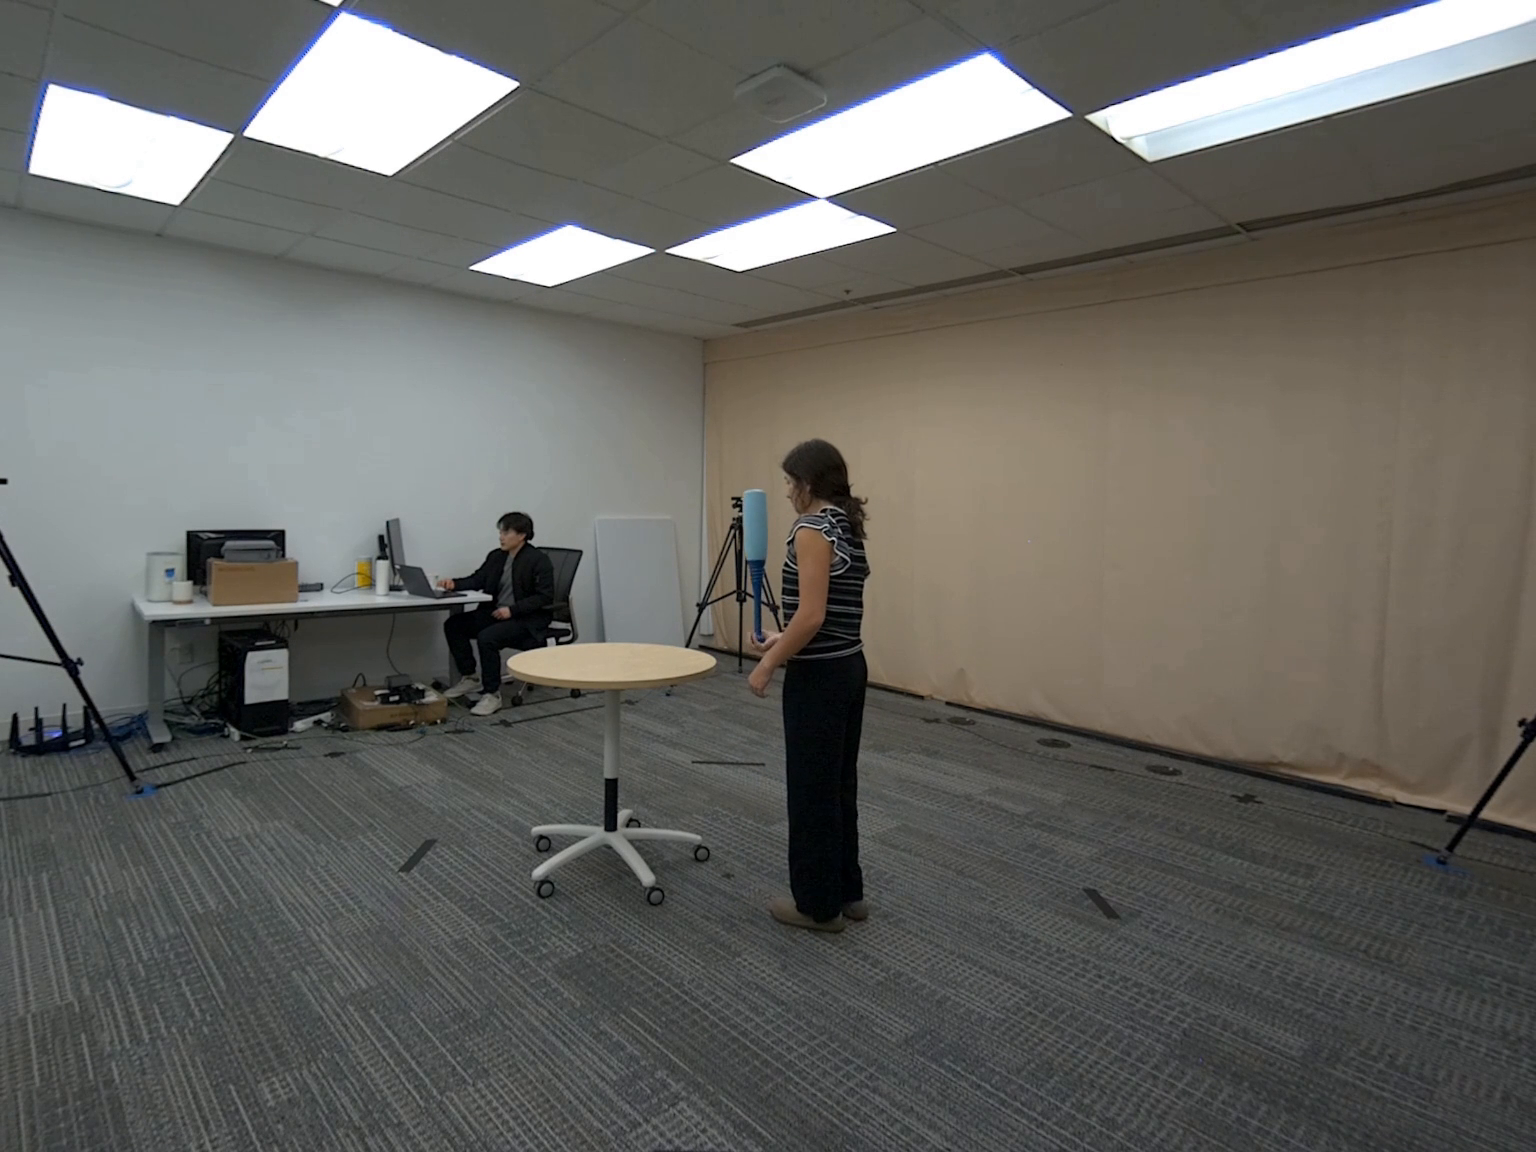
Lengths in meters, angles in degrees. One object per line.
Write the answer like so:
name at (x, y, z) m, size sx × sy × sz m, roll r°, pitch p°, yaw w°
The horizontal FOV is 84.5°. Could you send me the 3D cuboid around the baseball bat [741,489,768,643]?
baseball bat at (-0.046, -0.043, 2.980) m, size 0.089 × 0.545 × 0.089 m, roll -2°, pitch -6°, yaw -1°
